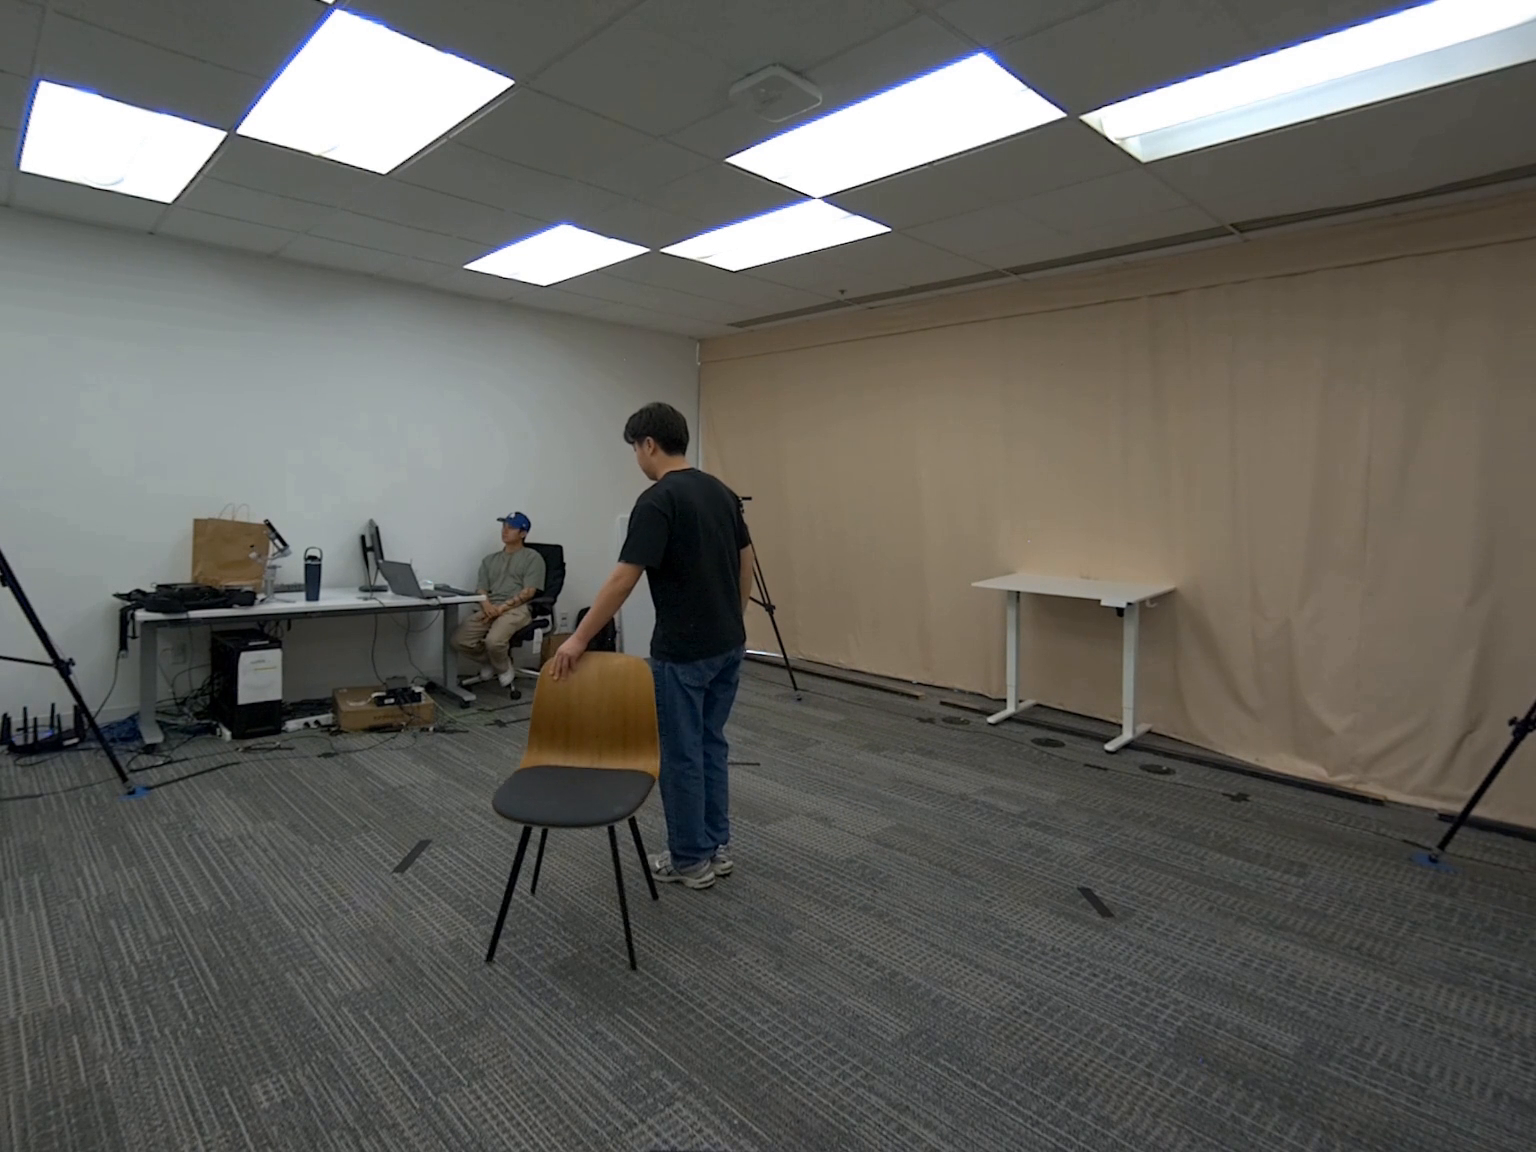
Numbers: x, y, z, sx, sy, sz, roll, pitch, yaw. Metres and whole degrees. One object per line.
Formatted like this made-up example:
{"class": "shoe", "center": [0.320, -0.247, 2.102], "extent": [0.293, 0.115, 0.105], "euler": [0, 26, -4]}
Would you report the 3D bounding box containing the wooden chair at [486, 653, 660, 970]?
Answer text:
{"class": "wooden chair", "center": [-0.594, 0.712, 2.663], "extent": [0.479, 0.878, 0.522], "euler": [2, 0, 1]}
